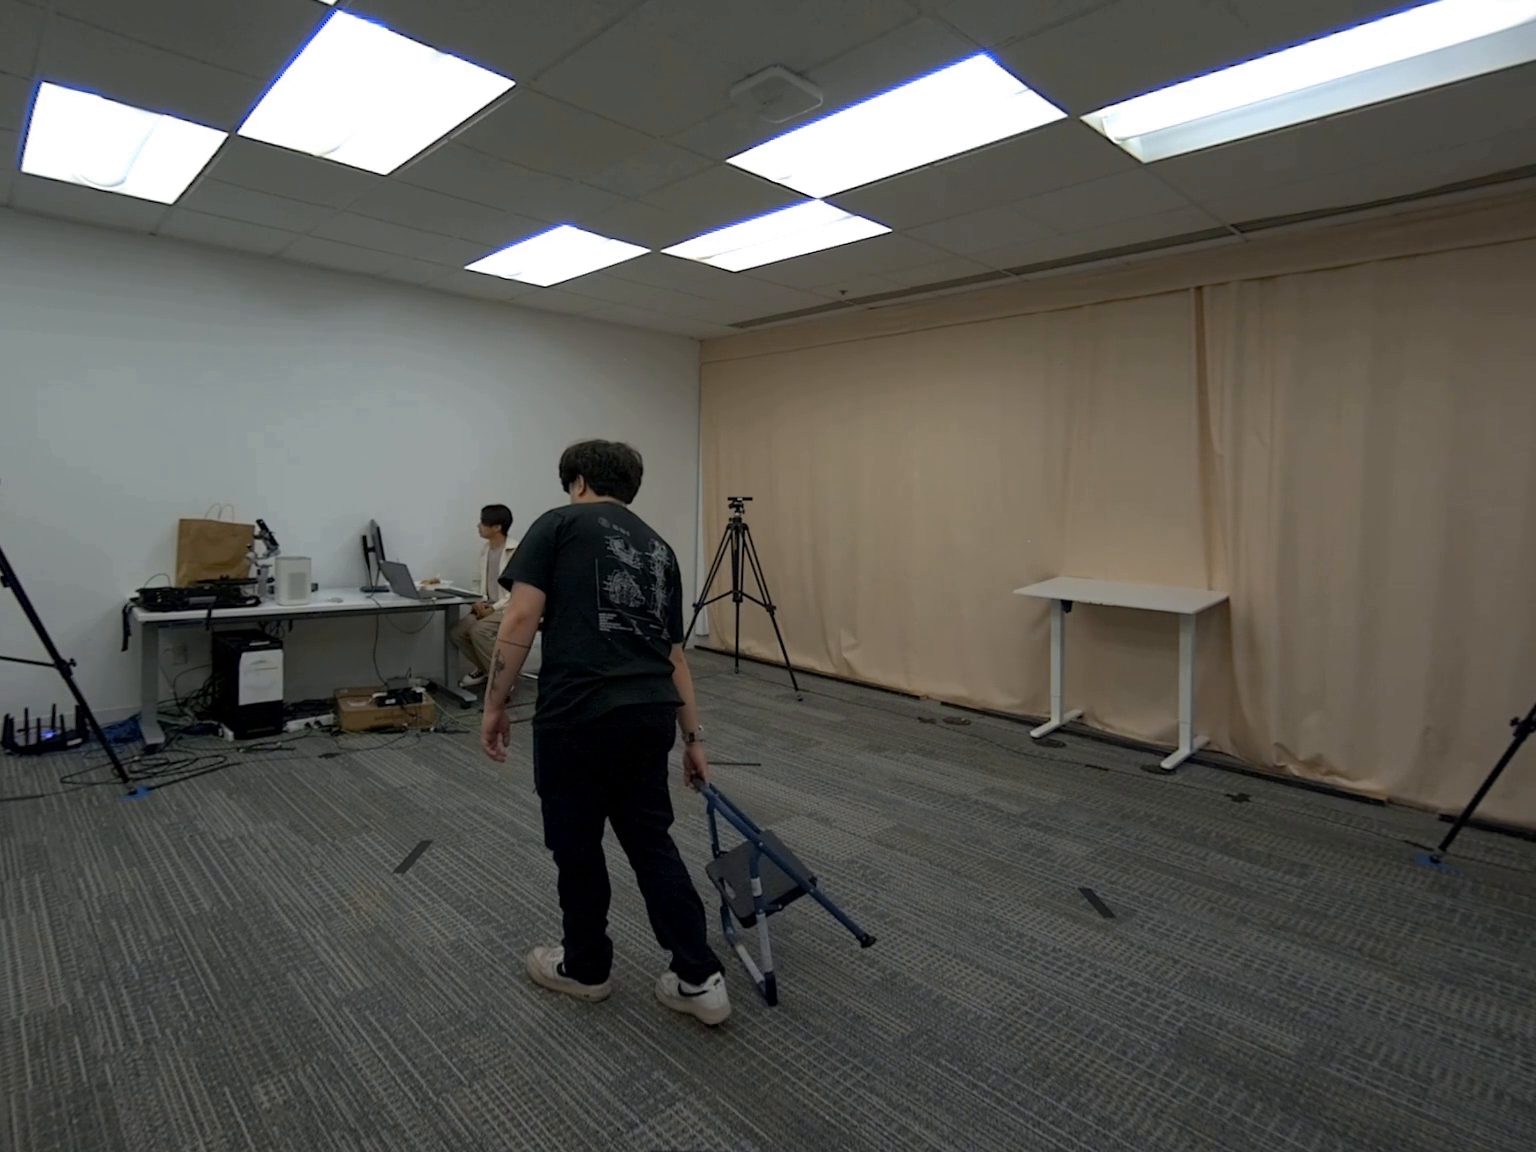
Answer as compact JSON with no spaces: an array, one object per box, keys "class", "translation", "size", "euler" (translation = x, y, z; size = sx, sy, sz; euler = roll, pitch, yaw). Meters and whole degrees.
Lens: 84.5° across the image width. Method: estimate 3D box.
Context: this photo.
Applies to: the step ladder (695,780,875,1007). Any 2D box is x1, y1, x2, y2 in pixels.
[{"class":"step ladder","translation":[-0.035,0.827,2.490],"size":[0.347,0.599,0.438],"euler":[-26,12,-17]}]
